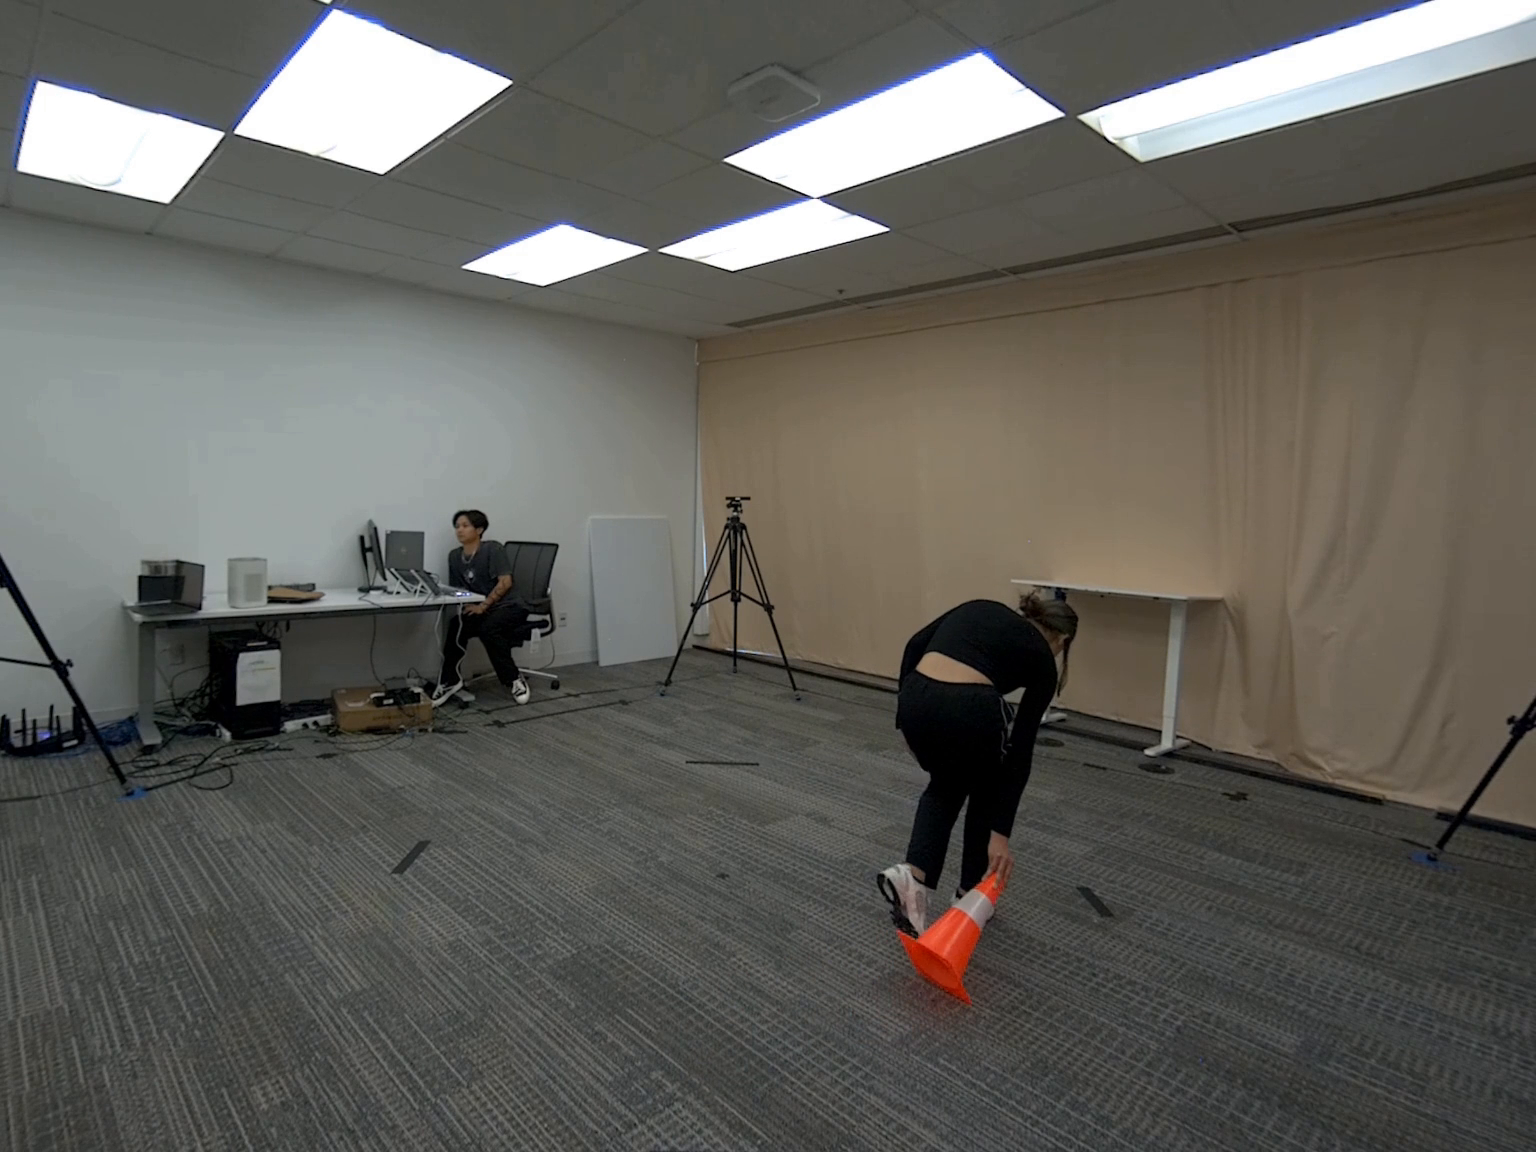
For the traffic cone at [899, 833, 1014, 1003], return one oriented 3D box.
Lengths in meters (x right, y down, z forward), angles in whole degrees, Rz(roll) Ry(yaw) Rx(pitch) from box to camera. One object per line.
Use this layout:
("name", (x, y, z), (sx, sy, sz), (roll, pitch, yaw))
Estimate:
("traffic cone", (0.584, 1.004, 2.463), (0.382, 0.200, 0.209), (-40, 20, -28))
